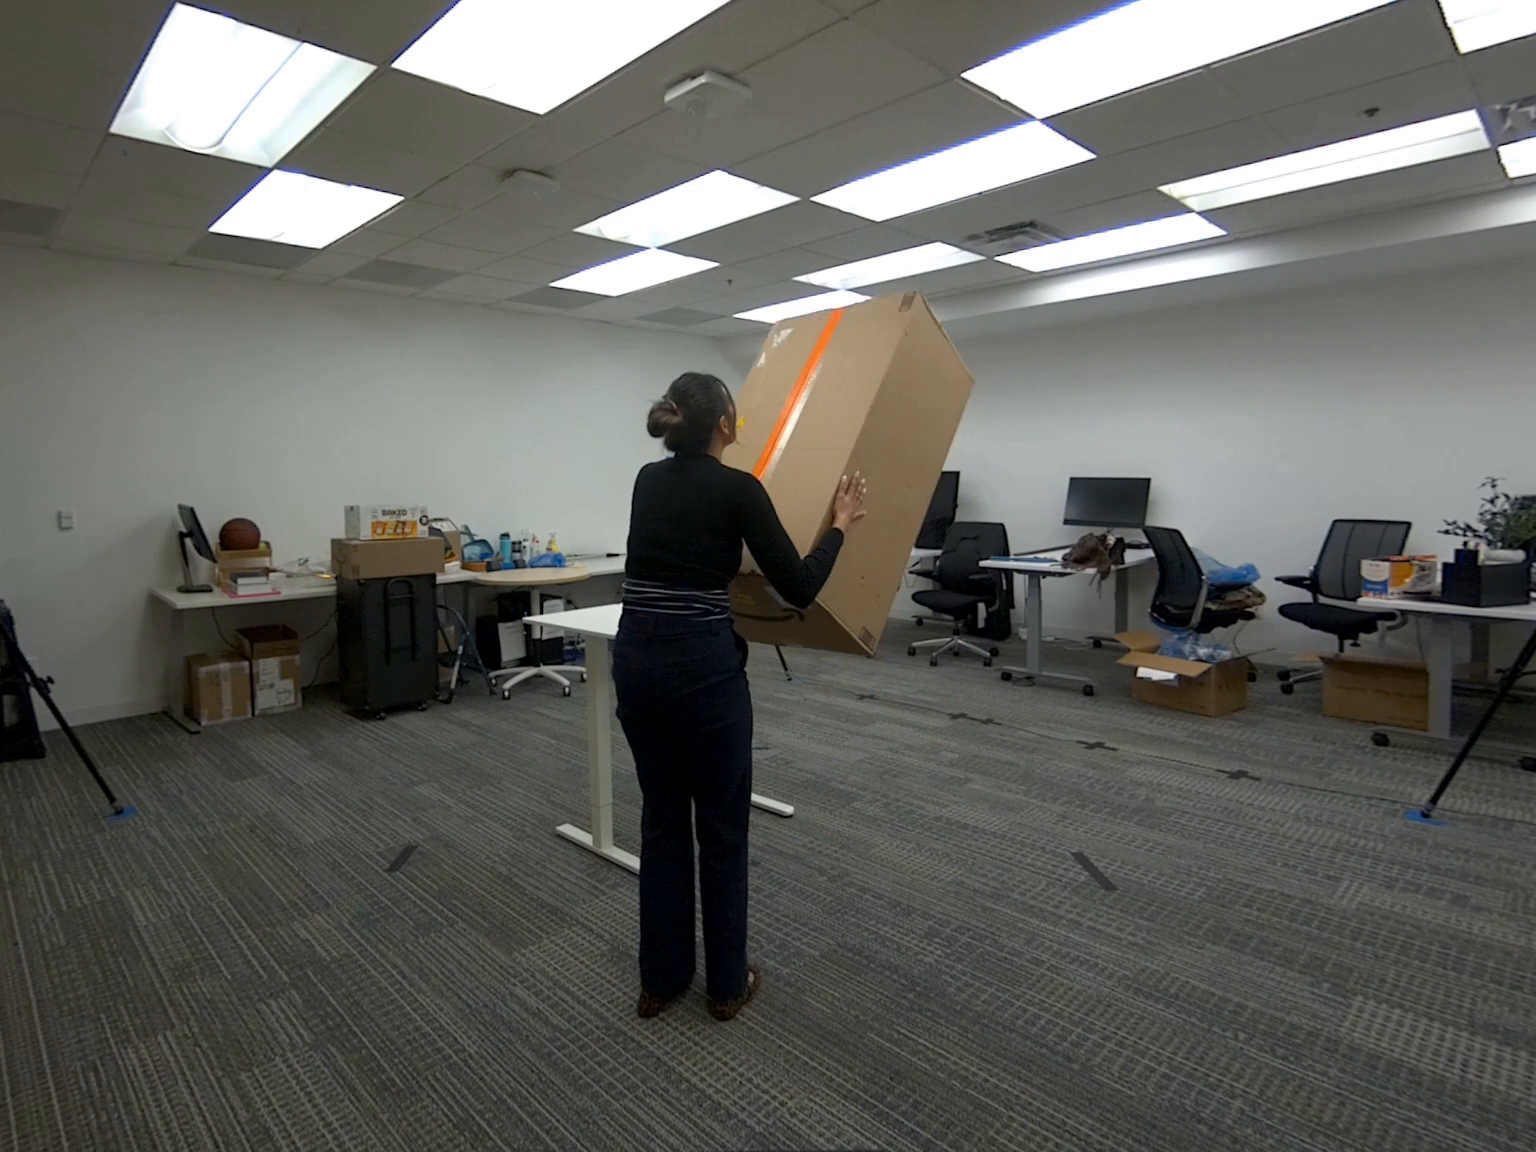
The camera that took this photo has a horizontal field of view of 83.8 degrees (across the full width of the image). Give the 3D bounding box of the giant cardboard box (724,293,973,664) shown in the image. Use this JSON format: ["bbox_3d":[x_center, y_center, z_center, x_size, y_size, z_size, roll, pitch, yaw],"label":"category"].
[{"bbox_3d":[0.165,-0.312,2.684,0.594,1.035,0.410,1,-31,43],"label":"giant cardboard box"}]
